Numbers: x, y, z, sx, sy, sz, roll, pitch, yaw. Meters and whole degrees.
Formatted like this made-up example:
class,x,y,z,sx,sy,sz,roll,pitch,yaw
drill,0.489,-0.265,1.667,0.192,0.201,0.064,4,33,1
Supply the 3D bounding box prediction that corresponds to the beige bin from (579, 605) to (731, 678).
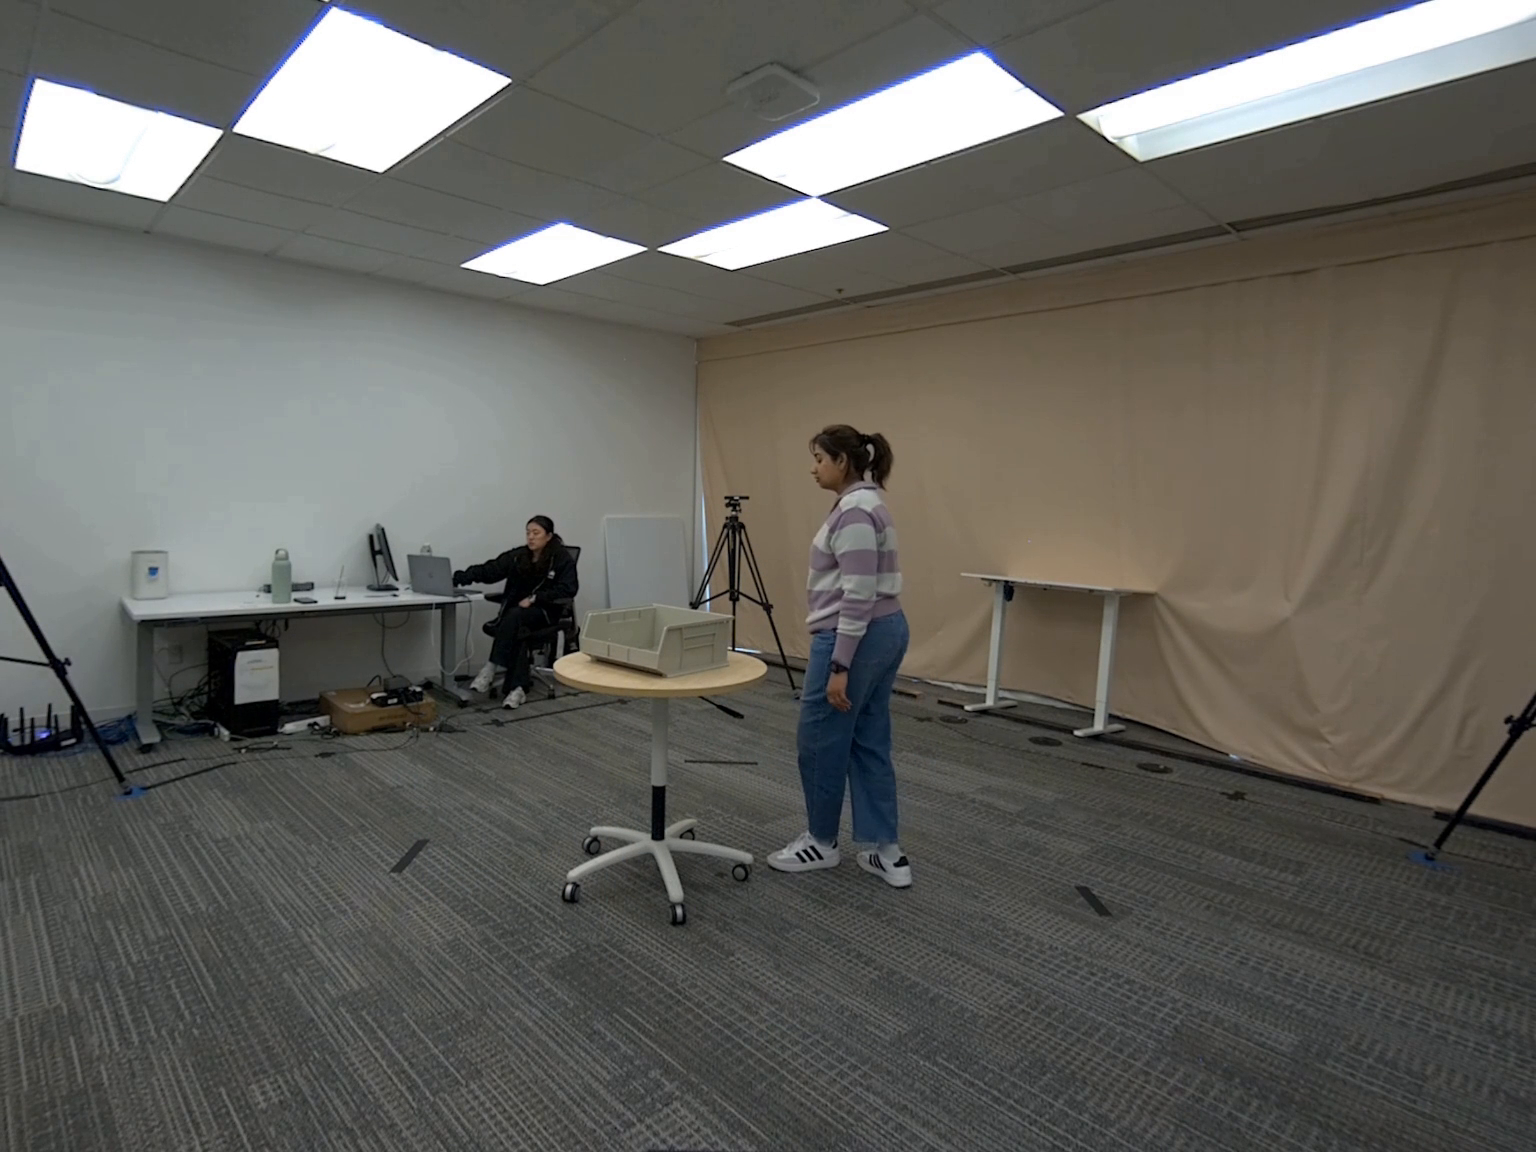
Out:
class,x,y,z,sx,sy,sz,roll,pitch,yaw
beige bin,-0.407,0.228,3.052,0.433,0.188,0.369,5,5,39
